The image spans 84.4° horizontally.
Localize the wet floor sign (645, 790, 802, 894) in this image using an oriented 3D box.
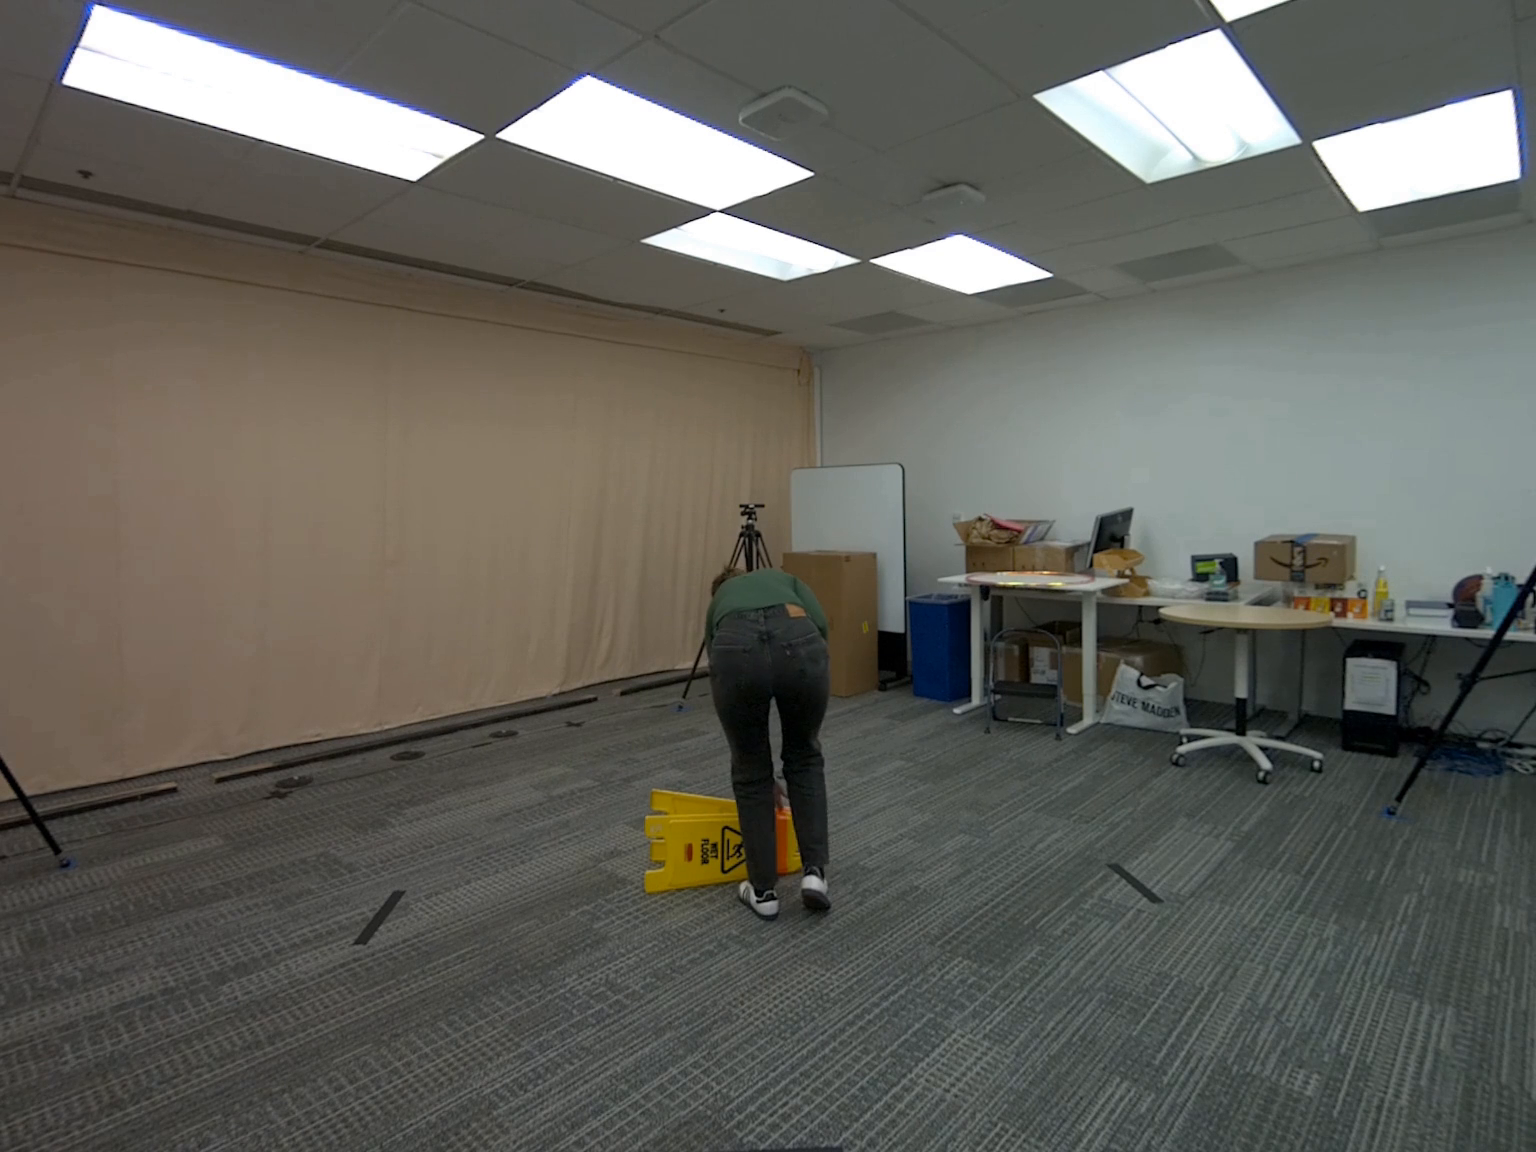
[{"bbox_3d":[-0.126,0.992,3.183,0.645,0.282,0.291,1,3,-1],"label":"wet floor sign"}]
